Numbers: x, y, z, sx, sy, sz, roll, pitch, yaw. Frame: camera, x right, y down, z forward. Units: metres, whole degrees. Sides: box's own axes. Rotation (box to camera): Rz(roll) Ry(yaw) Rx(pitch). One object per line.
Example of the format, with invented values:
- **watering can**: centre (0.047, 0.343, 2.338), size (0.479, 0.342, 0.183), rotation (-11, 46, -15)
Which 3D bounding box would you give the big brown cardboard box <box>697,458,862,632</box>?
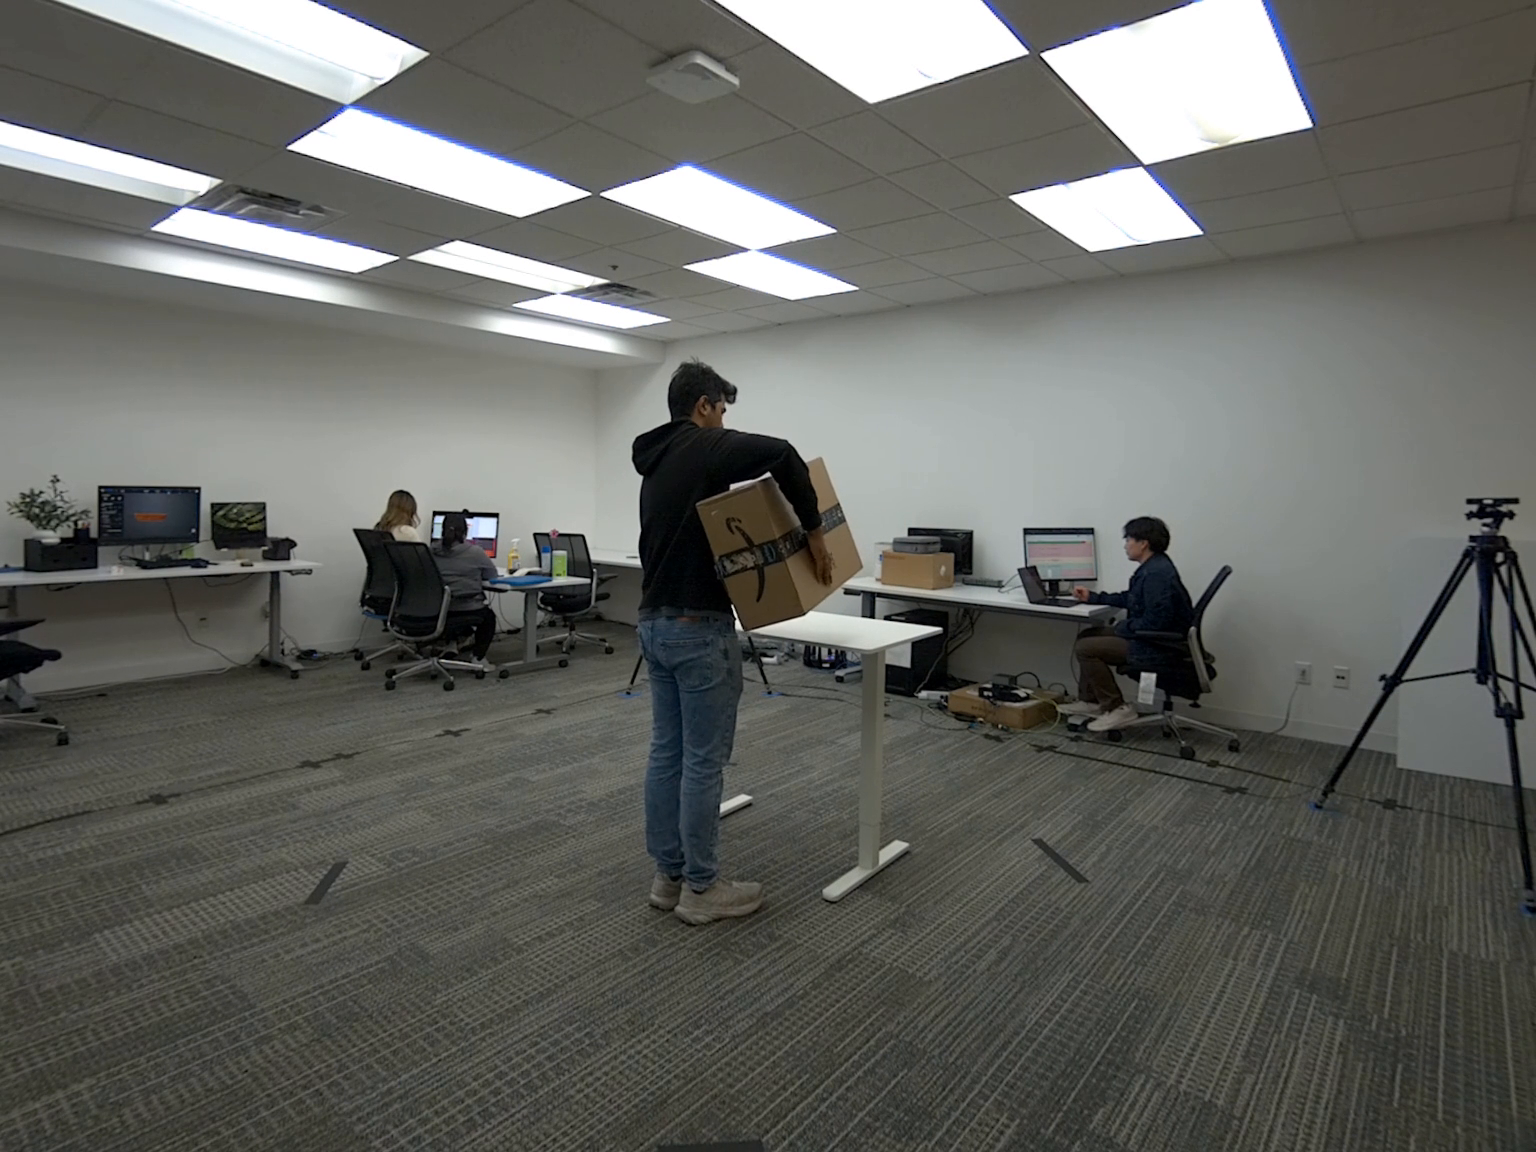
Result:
- **big brown cardboard box**: centre (0.044, -0.121, 2.736), size (0.237, 0.416, 0.581), rotation (-18, 5, 30)
